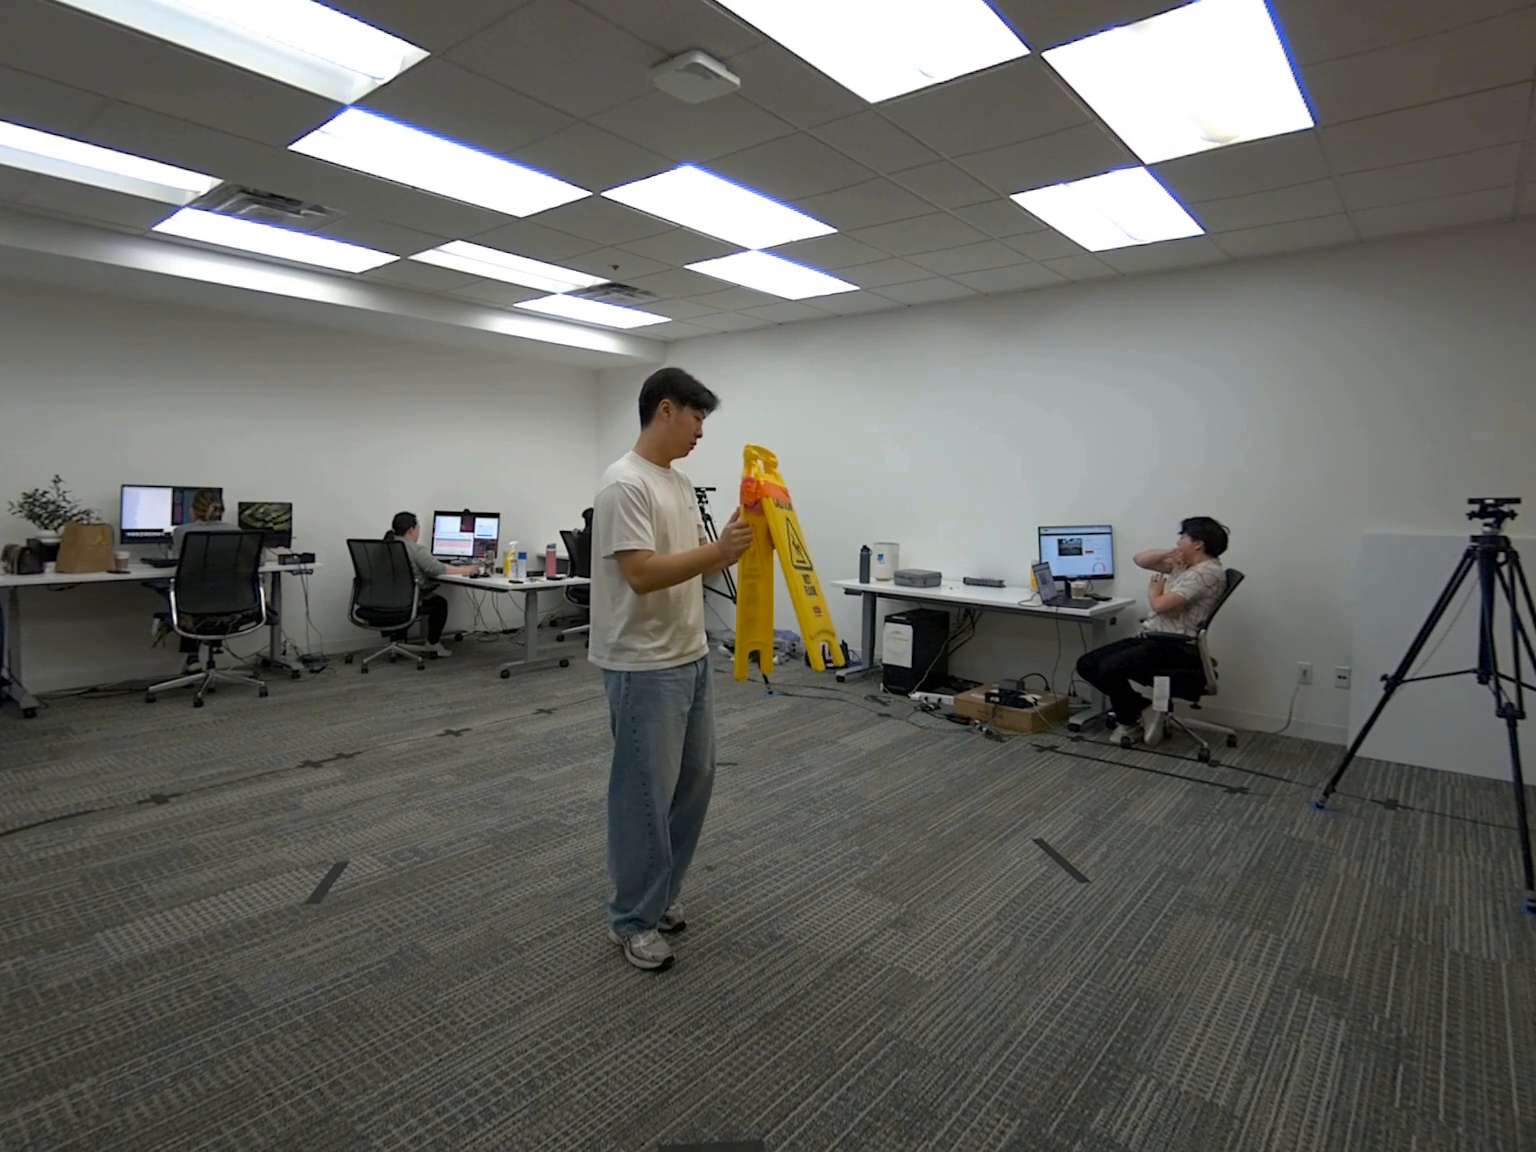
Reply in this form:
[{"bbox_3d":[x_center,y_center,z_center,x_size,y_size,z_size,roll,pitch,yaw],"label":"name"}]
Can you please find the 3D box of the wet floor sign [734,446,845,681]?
[{"bbox_3d":[0.015,-0.048,2.434,0.295,0.651,0.275,-10,-7,21],"label":"wet floor sign"}]
